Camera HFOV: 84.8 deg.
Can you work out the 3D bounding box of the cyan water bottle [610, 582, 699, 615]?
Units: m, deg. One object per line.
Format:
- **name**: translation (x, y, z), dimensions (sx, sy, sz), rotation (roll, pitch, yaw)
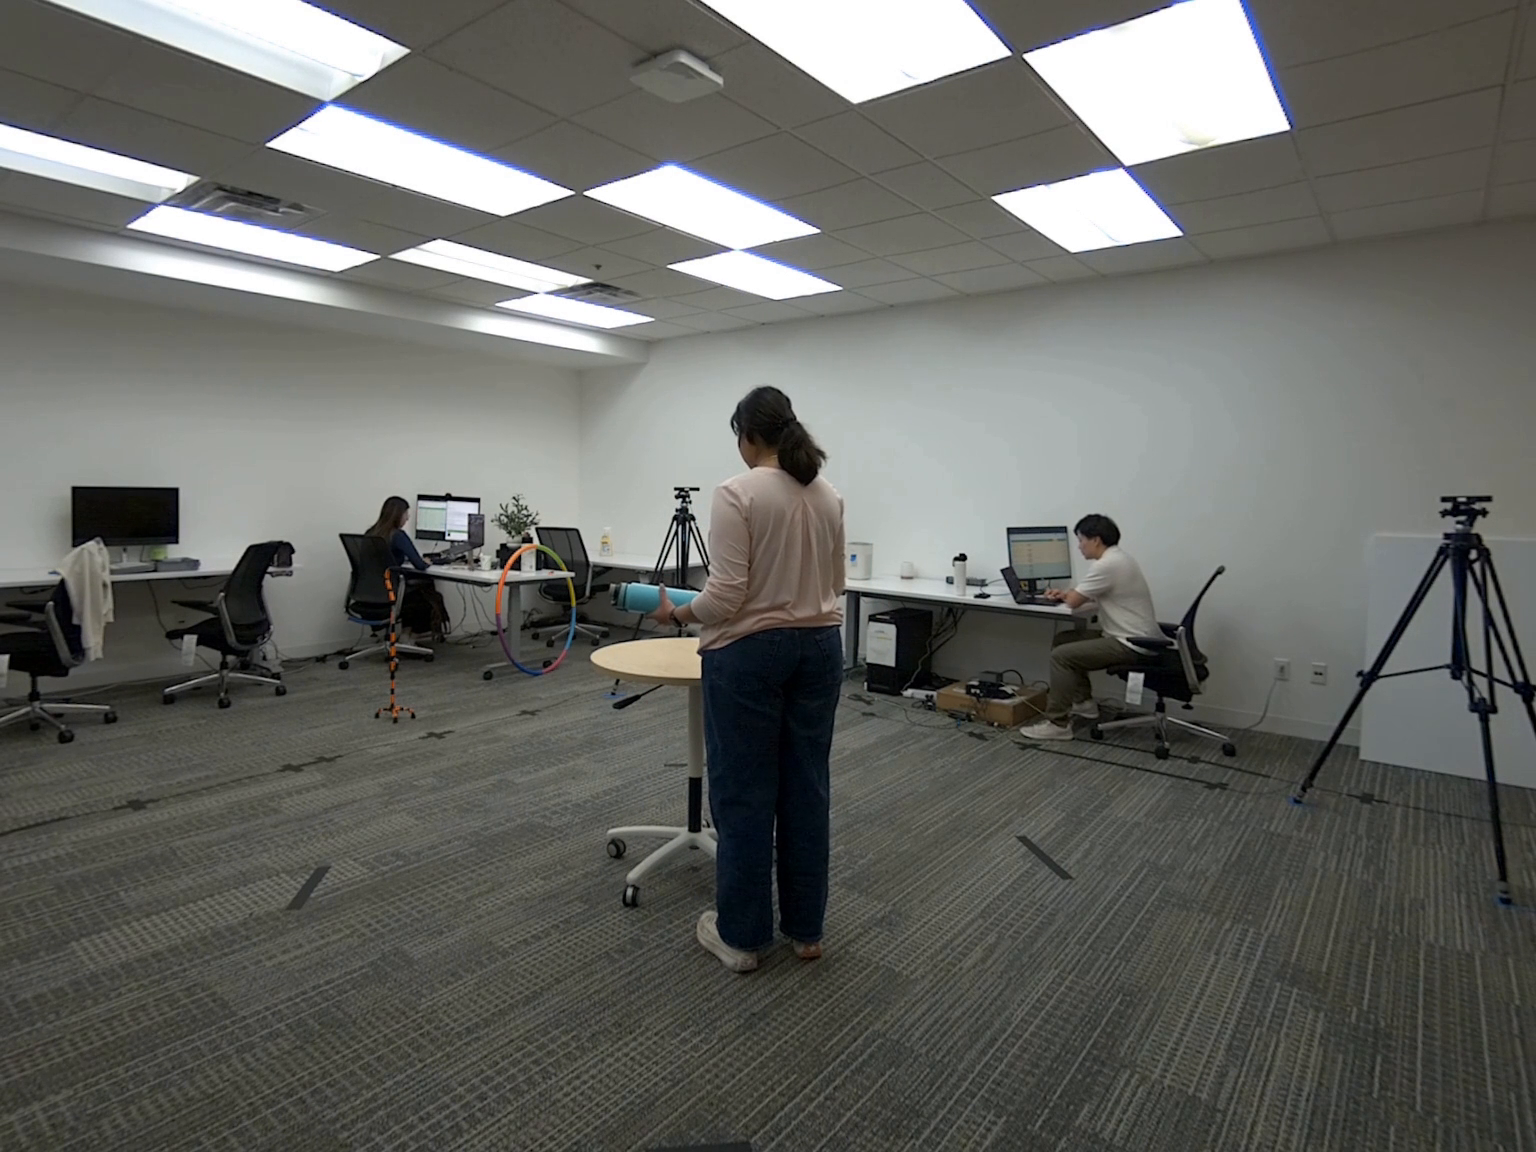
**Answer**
- **cyan water bottle**: translation (-0.361, 0.079, 2.622), dimensions (0.285, 0.092, 0.092), rotation (10, 5, 6)
